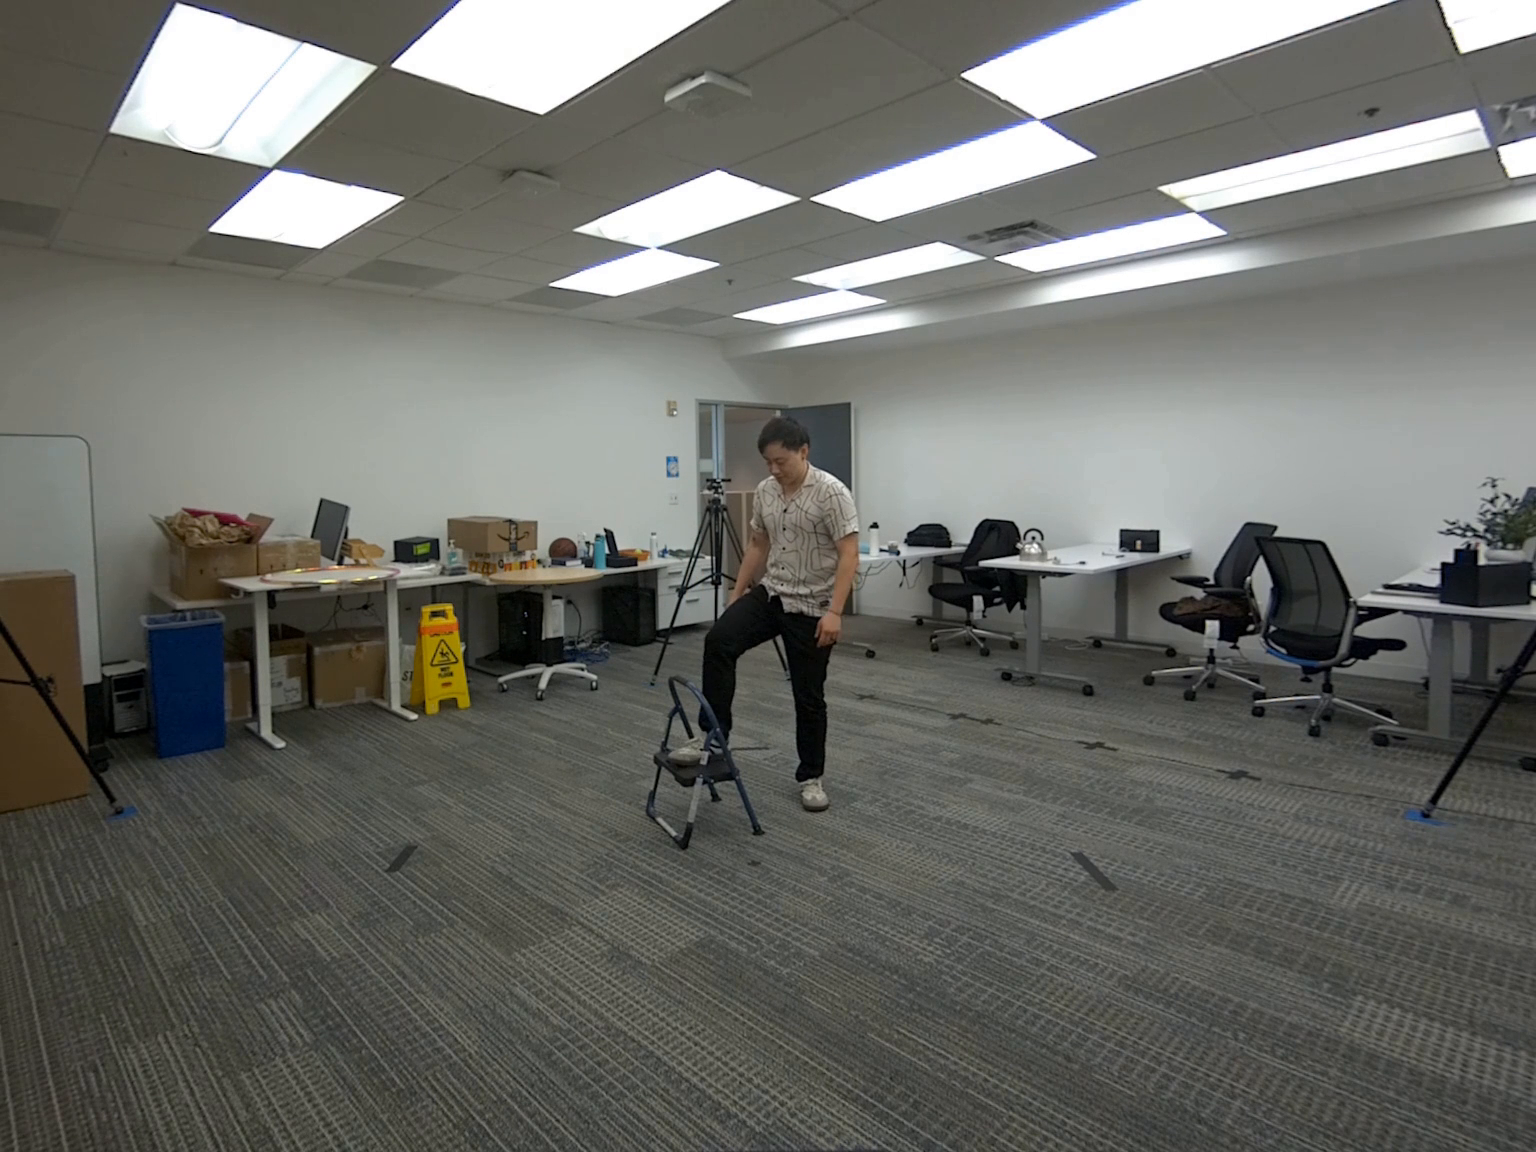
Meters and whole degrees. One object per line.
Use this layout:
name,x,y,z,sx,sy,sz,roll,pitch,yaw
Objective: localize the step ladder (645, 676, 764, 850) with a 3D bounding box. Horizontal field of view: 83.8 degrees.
step ladder,-0.269,0.704,3.462,0.341,0.604,0.442,-3,5,-28
